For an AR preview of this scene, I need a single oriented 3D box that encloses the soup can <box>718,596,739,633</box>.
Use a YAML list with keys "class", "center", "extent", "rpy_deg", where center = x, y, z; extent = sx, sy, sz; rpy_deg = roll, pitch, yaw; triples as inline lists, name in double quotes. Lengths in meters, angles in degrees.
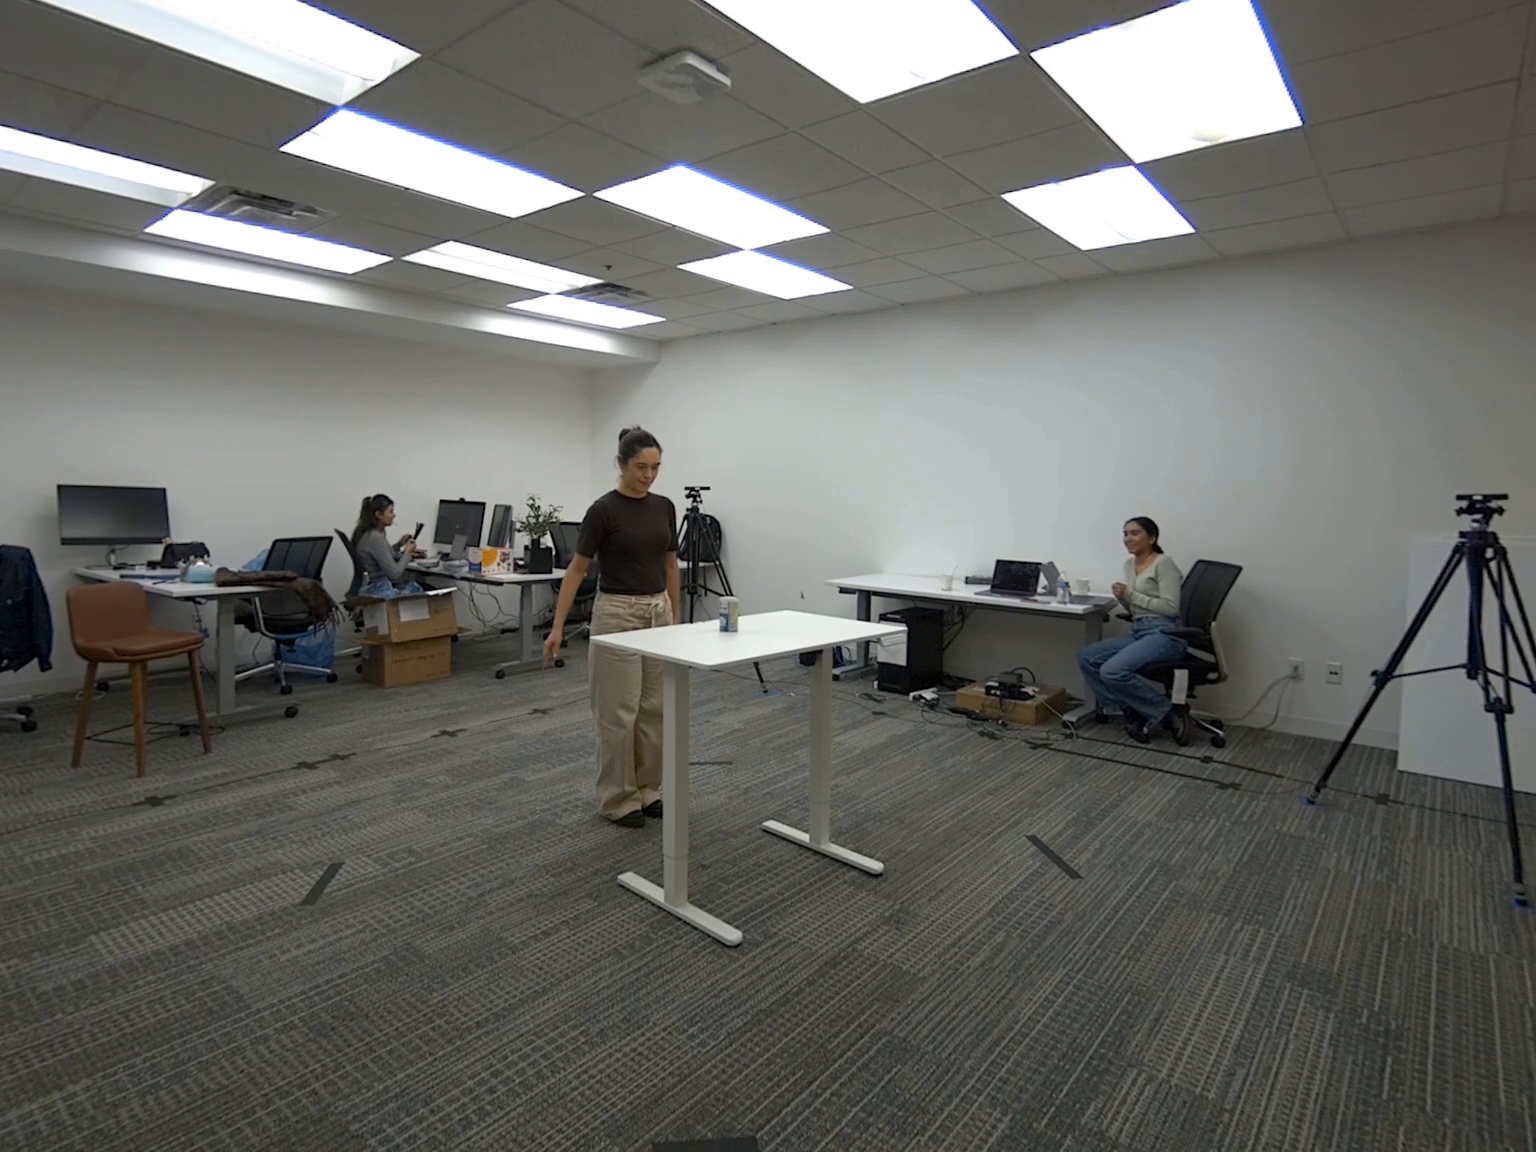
- class: "soup can"
  center: [-0.153, 0.133, 3.019]
  extent: [0.067, 0.121, 0.067]
  rpy_deg: [2, 3, -2]
